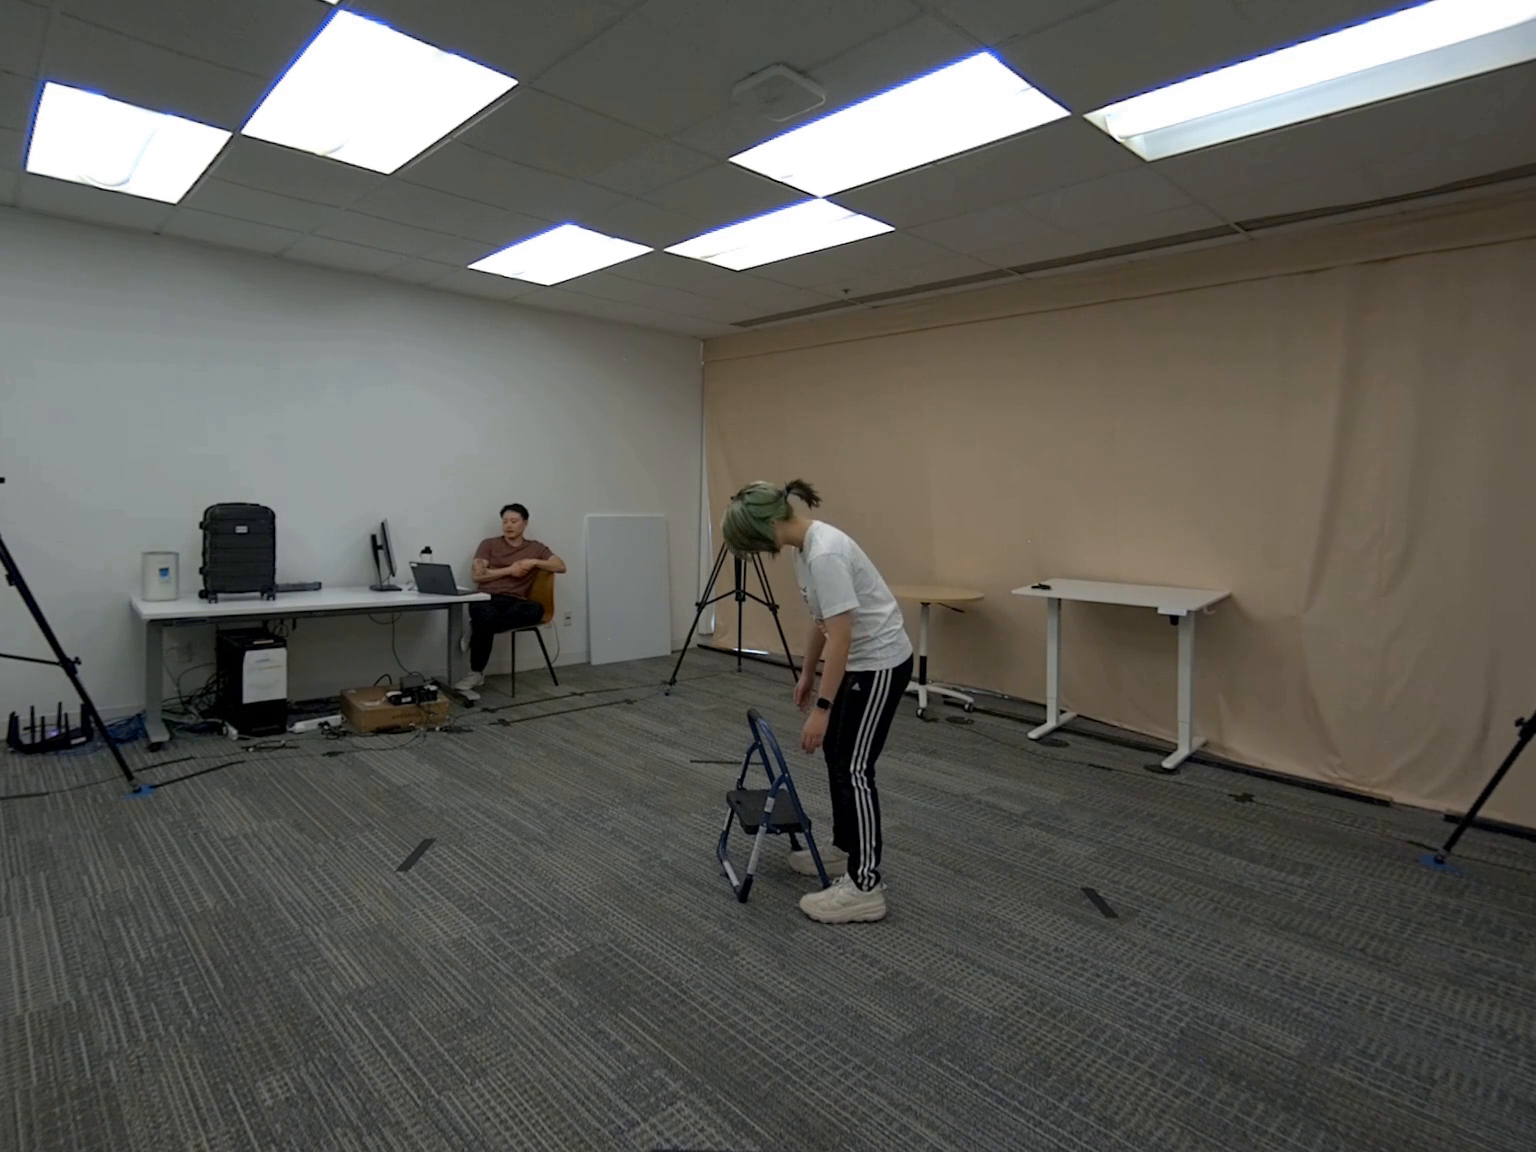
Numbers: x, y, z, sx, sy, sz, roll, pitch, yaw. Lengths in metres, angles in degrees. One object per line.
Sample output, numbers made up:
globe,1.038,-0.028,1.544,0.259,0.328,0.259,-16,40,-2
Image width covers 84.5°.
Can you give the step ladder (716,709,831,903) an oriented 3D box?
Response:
step ladder,0.011,0.812,3.111,0.346,0.604,0.436,-1,4,-12
